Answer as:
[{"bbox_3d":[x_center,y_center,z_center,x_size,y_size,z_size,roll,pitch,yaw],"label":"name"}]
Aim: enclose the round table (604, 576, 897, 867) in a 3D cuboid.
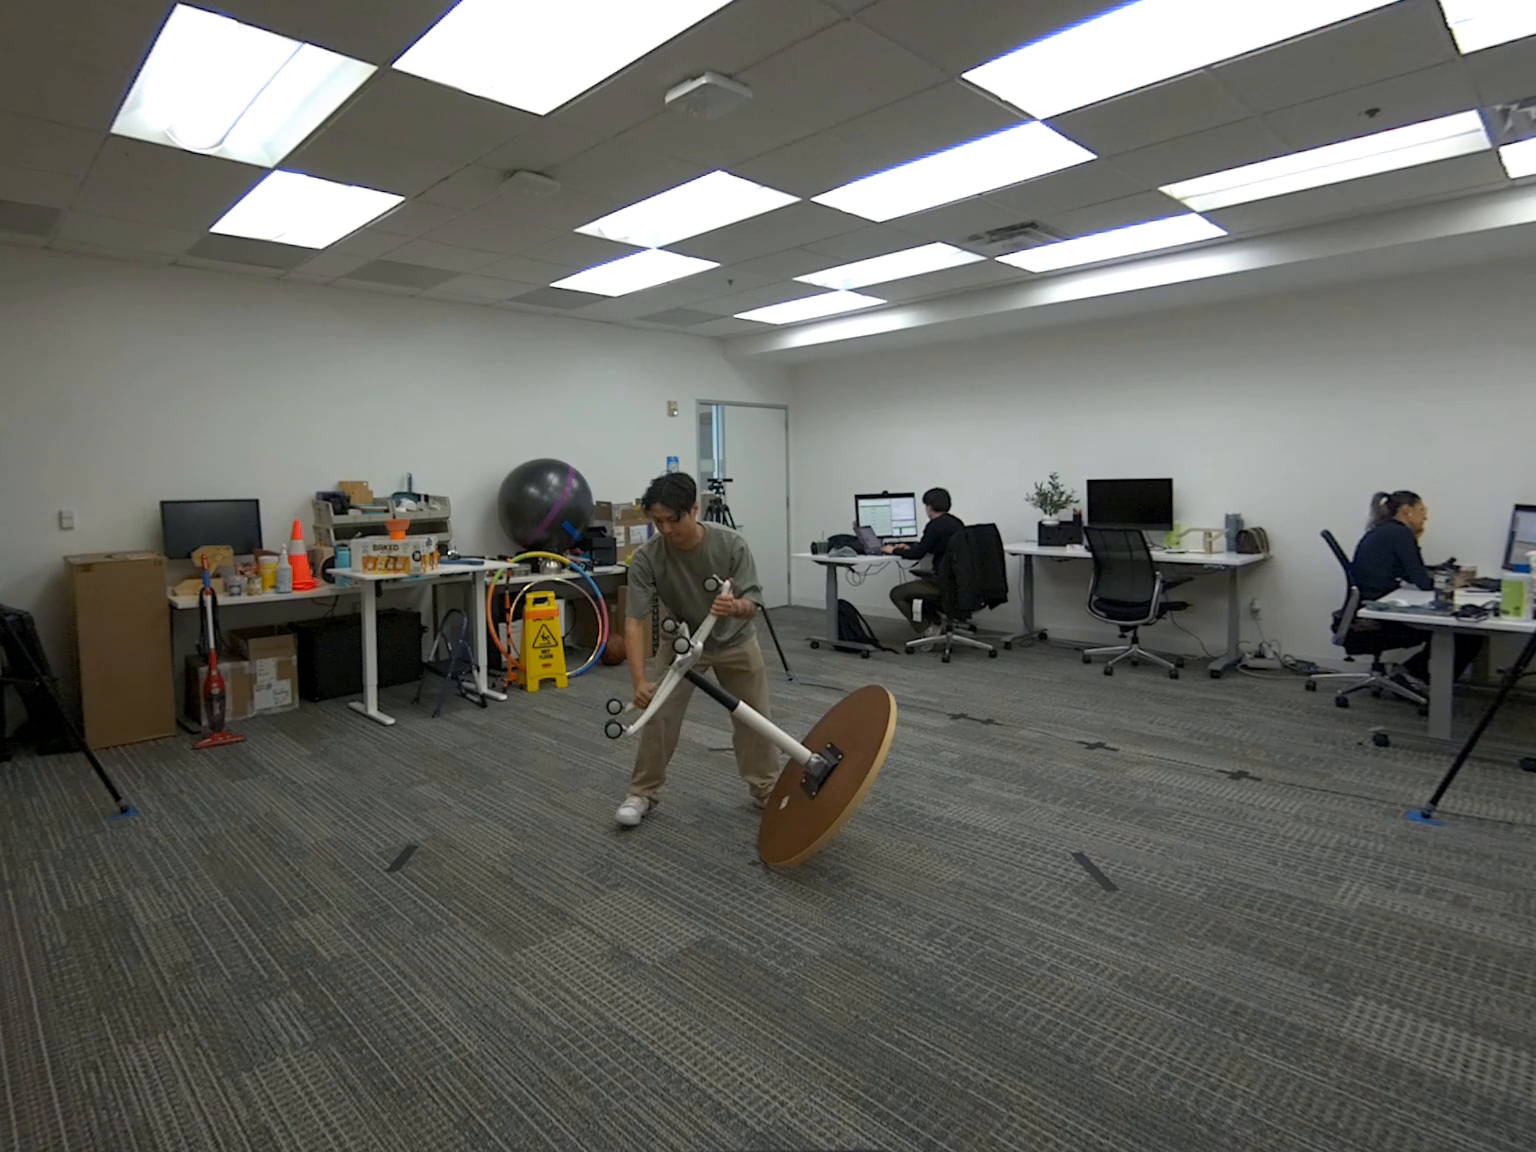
[{"bbox_3d":[-0.098,0.508,3.133,0.780,0.785,0.792,37,0,-7],"label":"round table"}]
